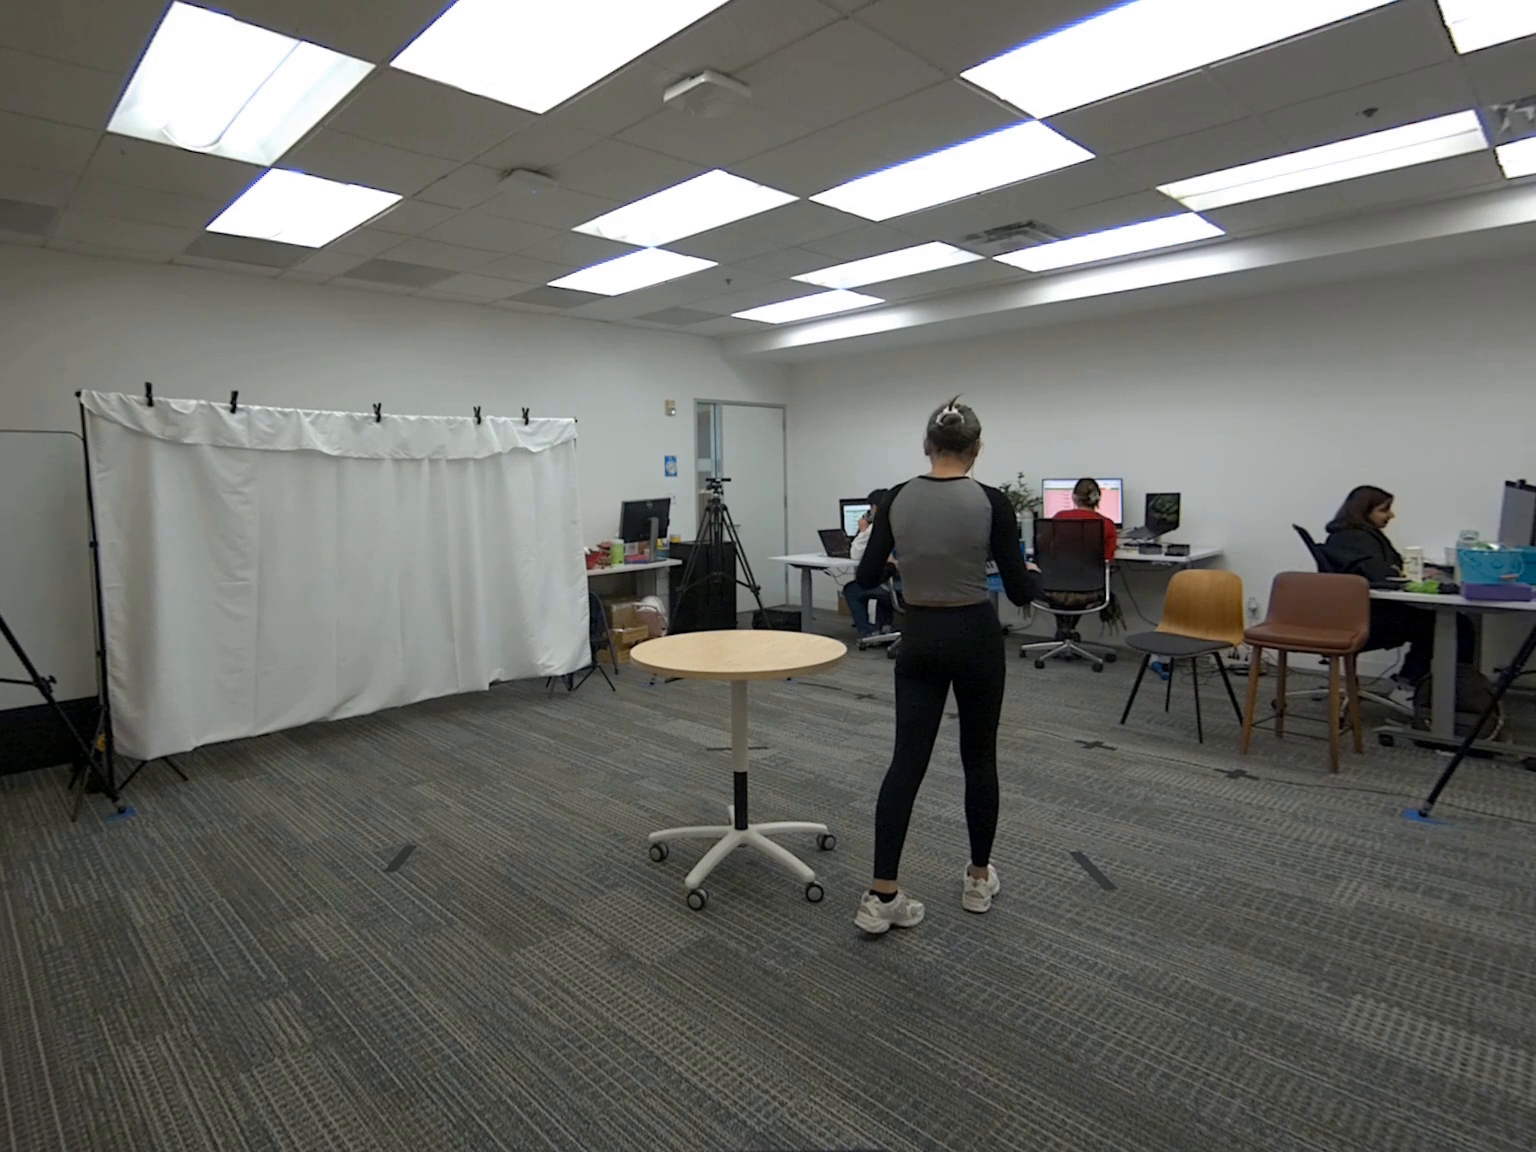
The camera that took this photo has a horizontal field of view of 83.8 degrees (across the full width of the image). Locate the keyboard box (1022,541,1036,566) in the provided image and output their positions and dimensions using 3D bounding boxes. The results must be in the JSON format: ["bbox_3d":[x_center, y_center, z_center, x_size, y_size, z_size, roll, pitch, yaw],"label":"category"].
[{"bbox_3d":[0.667,-0.031,2.903,0.446,0.176,0.058,-1,1,24],"label":"keyboard box"}]
